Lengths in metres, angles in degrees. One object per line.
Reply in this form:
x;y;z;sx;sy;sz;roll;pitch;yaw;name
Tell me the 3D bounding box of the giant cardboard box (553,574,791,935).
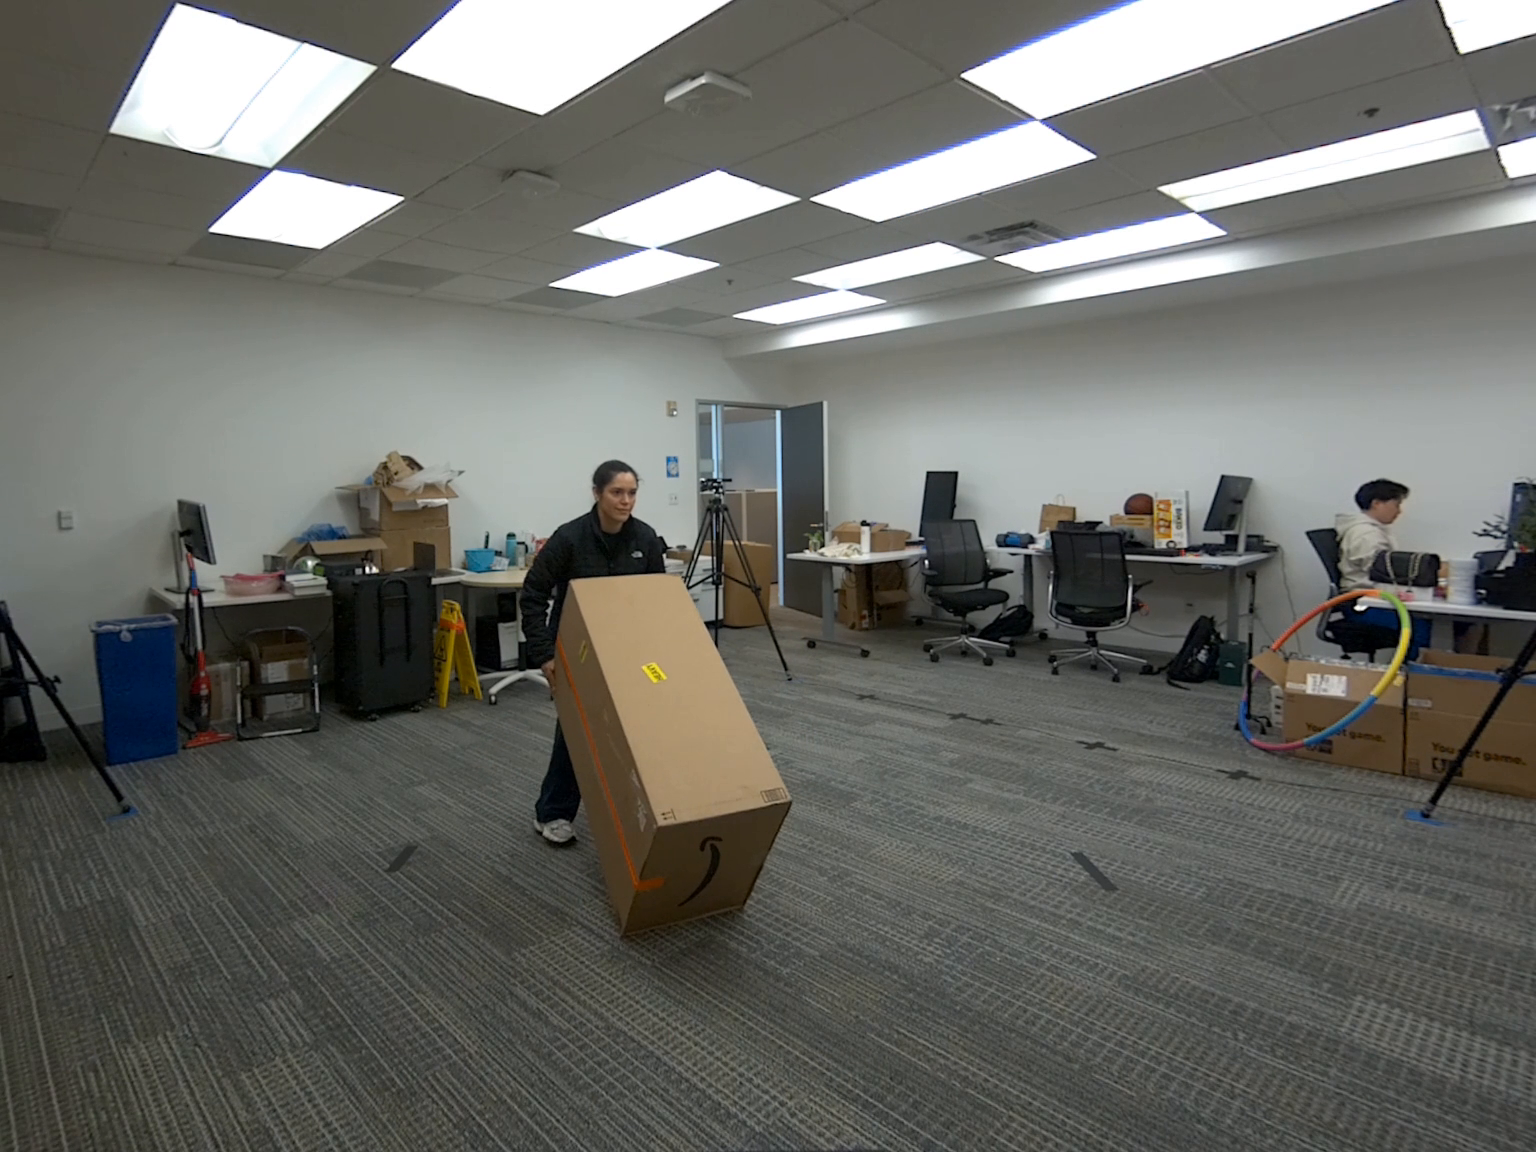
-0.393;0.545;2.912;0.437;0.574;1.067;-4;41;-28;giant cardboard box
